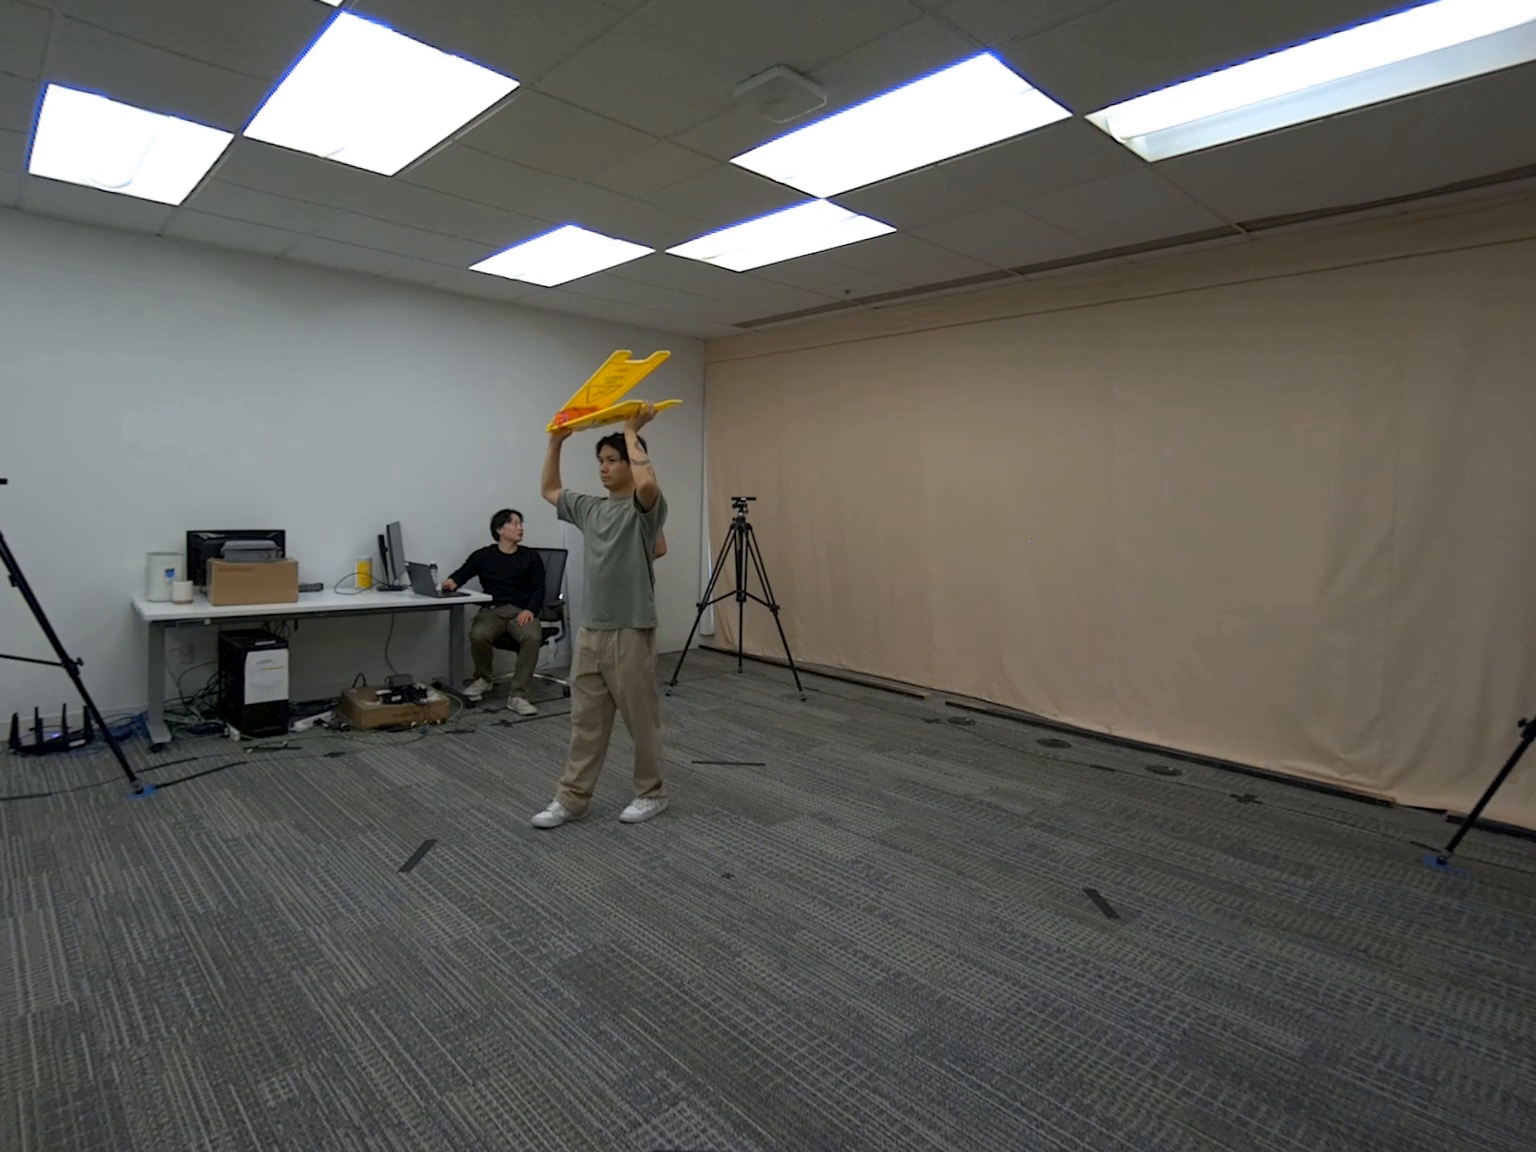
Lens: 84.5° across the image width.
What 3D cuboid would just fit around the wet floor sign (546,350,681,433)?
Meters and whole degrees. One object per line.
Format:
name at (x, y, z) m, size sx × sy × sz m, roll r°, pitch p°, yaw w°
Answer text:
wet floor sign at (-0.697, -0.715, 3.524) m, size 0.657 × 0.290 × 0.277 m, roll -15°, pitch -2°, yaw 43°
